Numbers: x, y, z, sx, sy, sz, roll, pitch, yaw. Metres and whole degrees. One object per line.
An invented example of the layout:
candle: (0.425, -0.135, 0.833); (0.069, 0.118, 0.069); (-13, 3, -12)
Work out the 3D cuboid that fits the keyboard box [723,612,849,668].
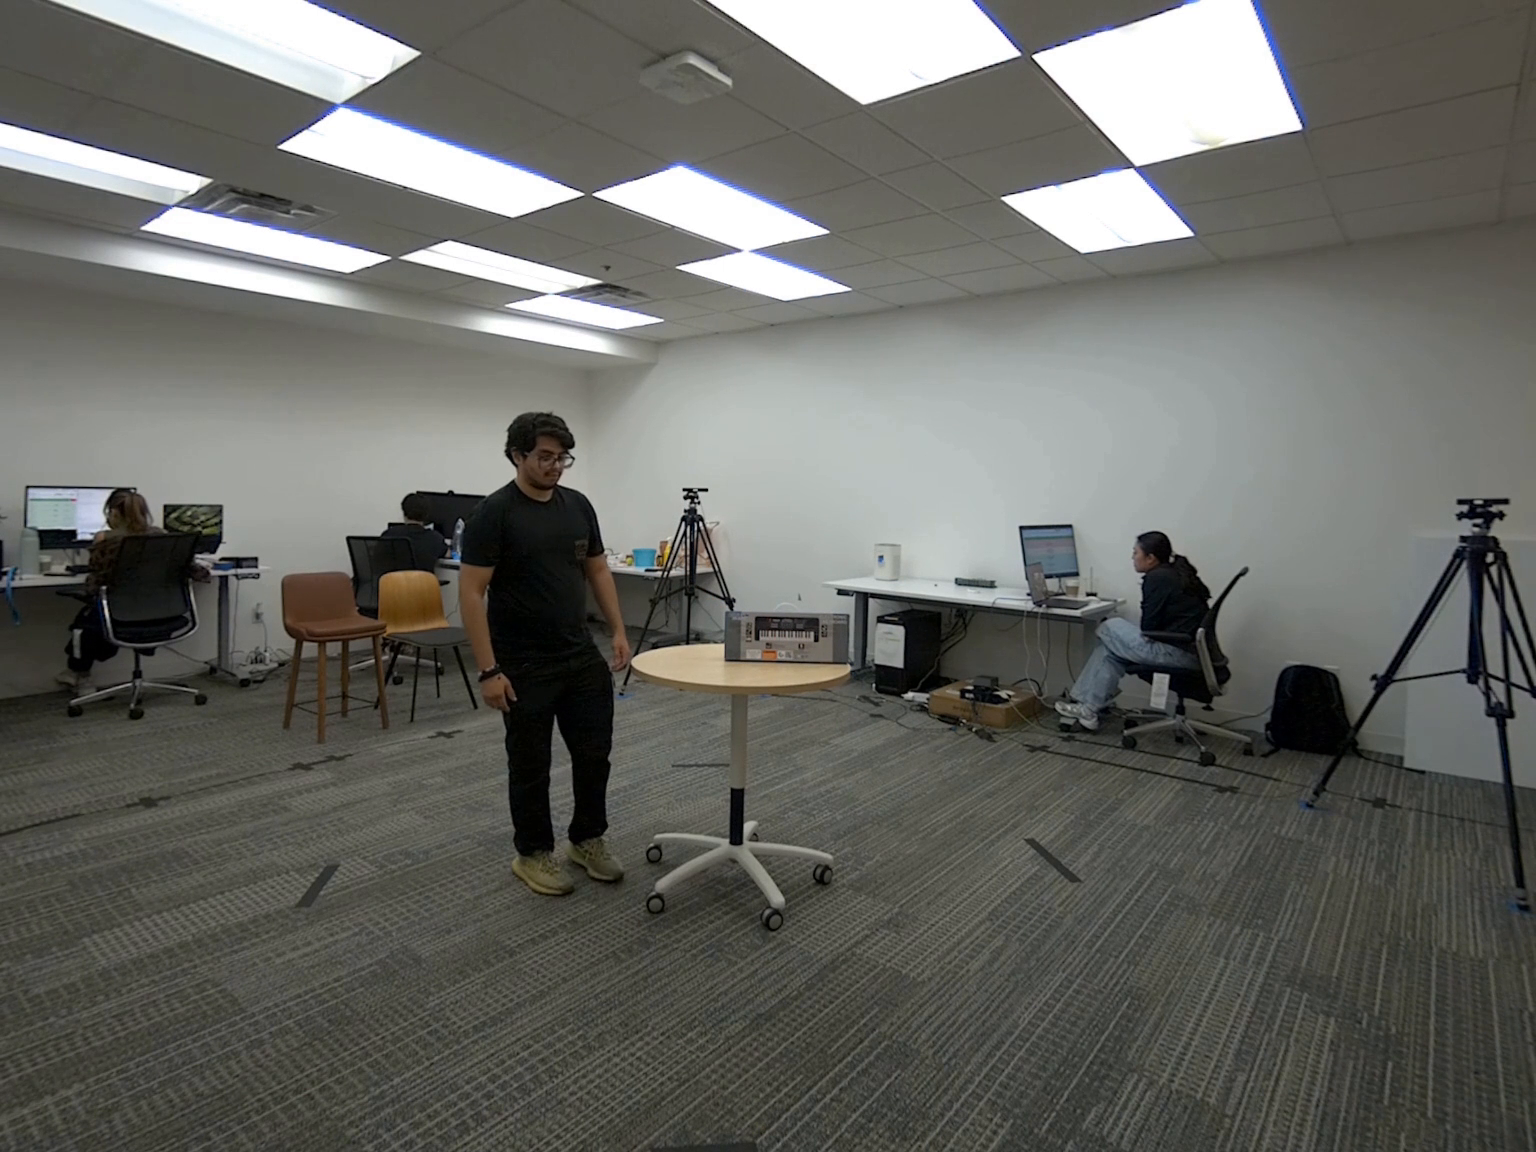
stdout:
keyboard box: (0.060, 0.225, 2.999); (0.437, 0.176, 0.059); (2, 2, 1)
